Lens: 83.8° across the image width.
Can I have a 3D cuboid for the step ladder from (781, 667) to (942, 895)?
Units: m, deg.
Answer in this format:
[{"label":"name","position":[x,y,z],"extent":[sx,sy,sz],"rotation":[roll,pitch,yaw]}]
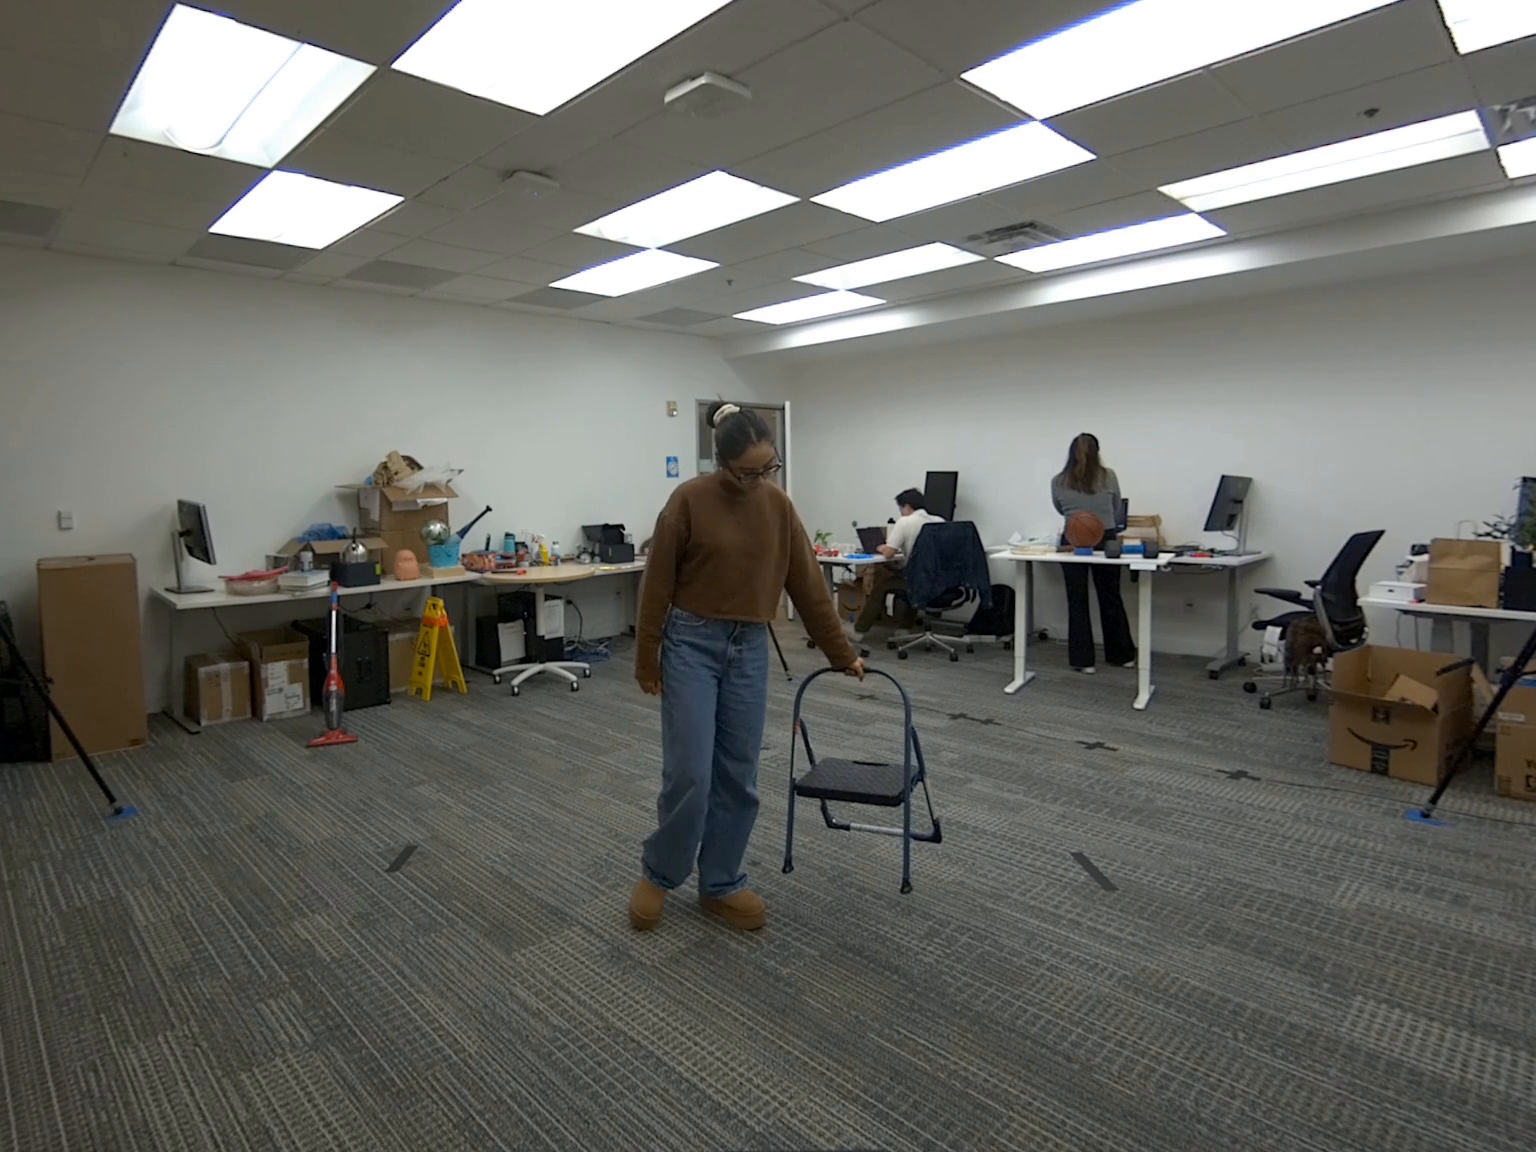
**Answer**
[{"label":"step ladder","position":[0.278,0.607,2.727],"extent":[0.441,0.602,0.343],"rotation":[-2,9,30]}]
